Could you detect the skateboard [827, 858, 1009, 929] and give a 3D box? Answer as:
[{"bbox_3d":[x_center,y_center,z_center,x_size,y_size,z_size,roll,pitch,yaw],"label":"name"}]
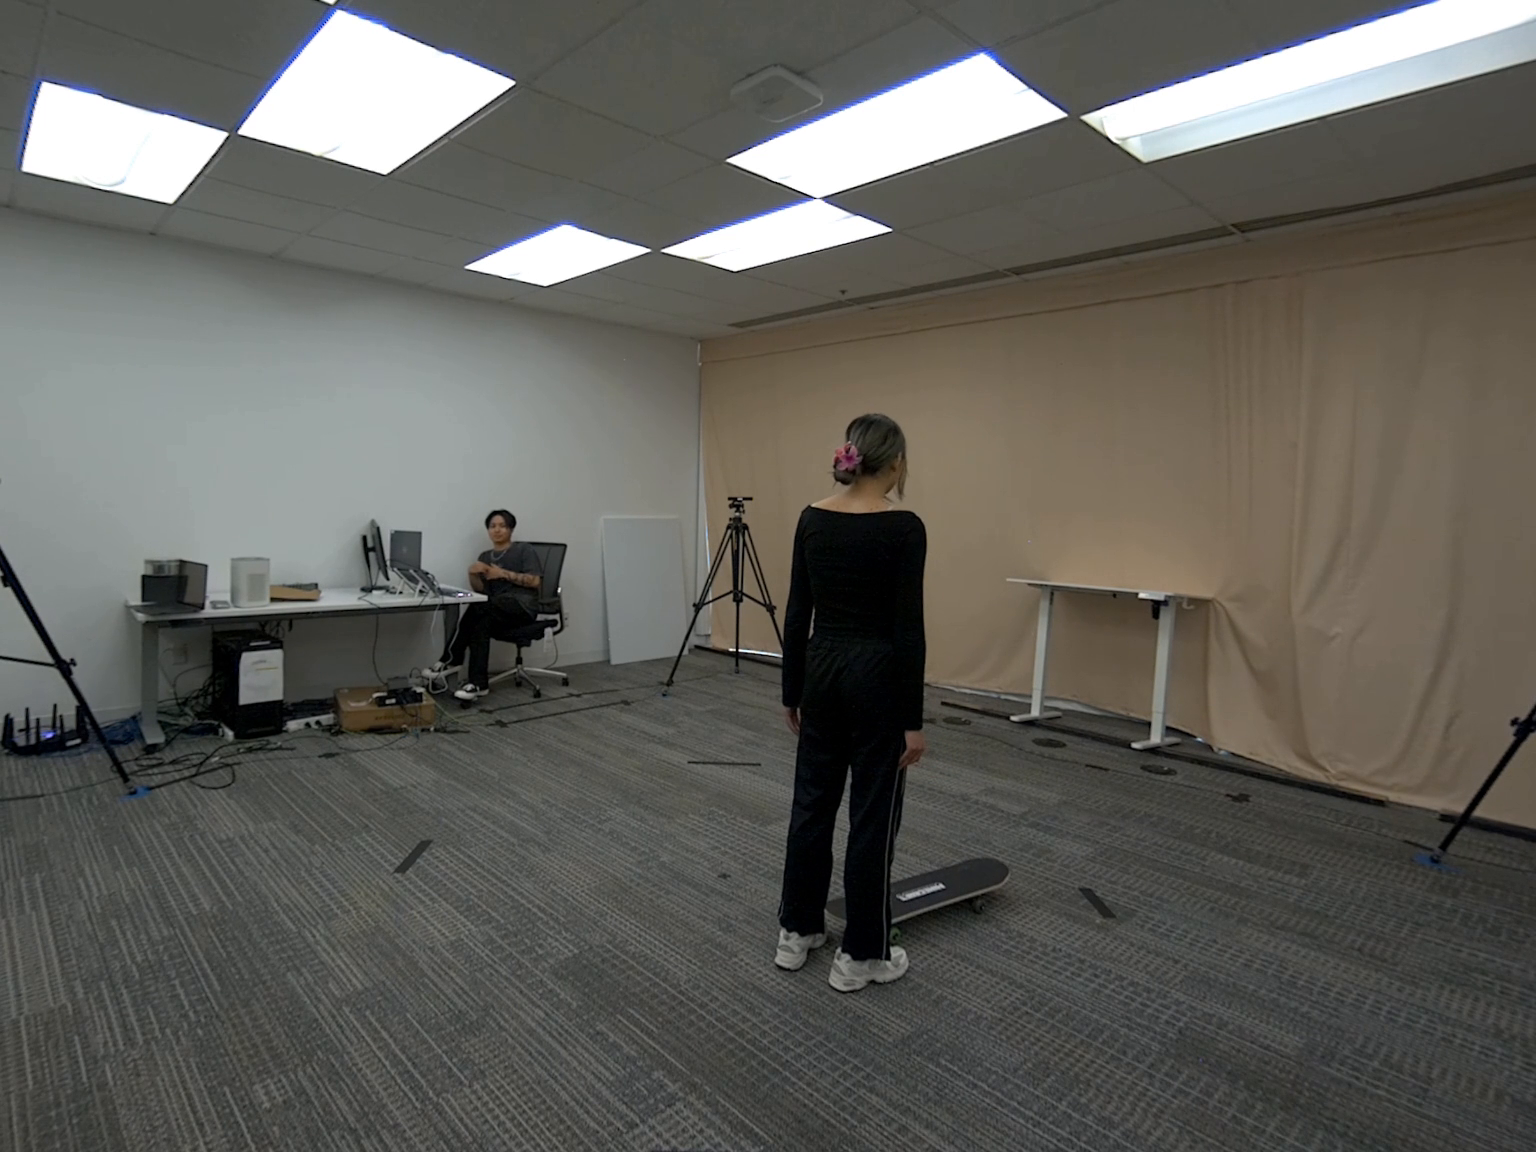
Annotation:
[{"bbox_3d":[0.509,1.091,2.827,0.769,0.110,0.198,-2,7,-33],"label":"skateboard"}]
